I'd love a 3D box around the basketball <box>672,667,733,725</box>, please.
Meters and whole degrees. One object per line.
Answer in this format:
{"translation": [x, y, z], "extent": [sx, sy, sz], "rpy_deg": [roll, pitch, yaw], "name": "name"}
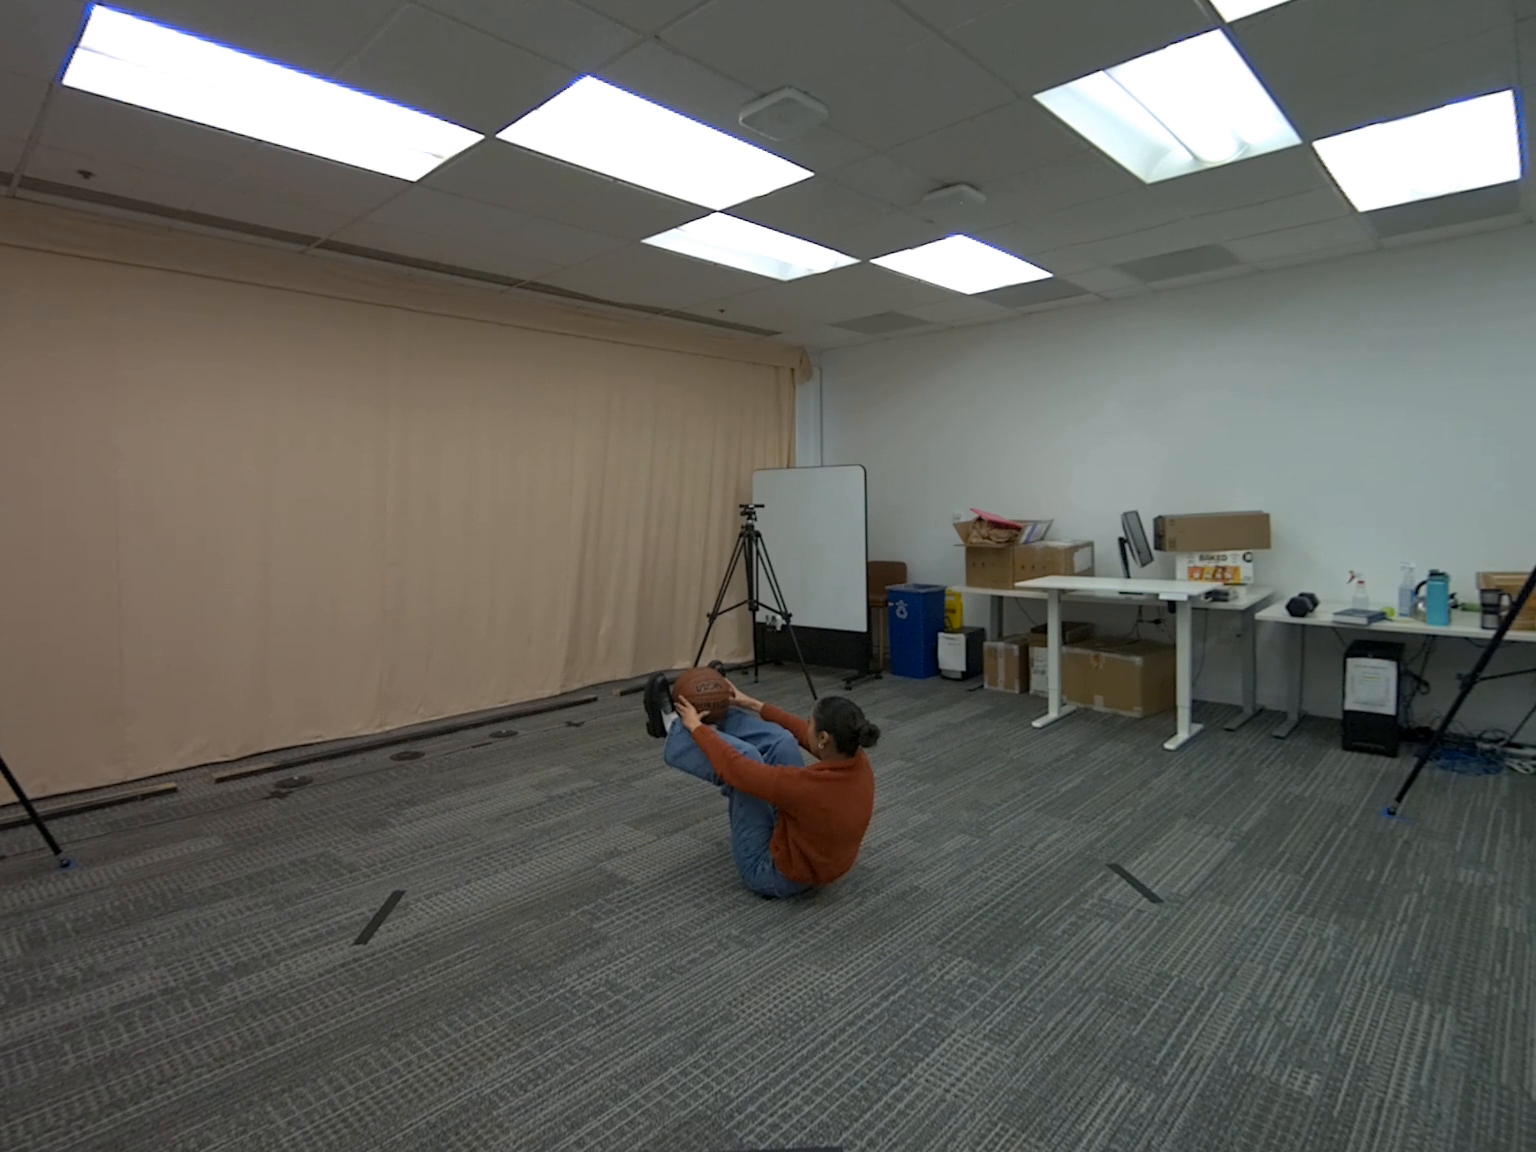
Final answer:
{"translation": [-0.264, 0.489, 3.369], "extent": [0.235, 0.235, 0.237], "rpy_deg": [2, 5, -2], "name": "basketball"}
